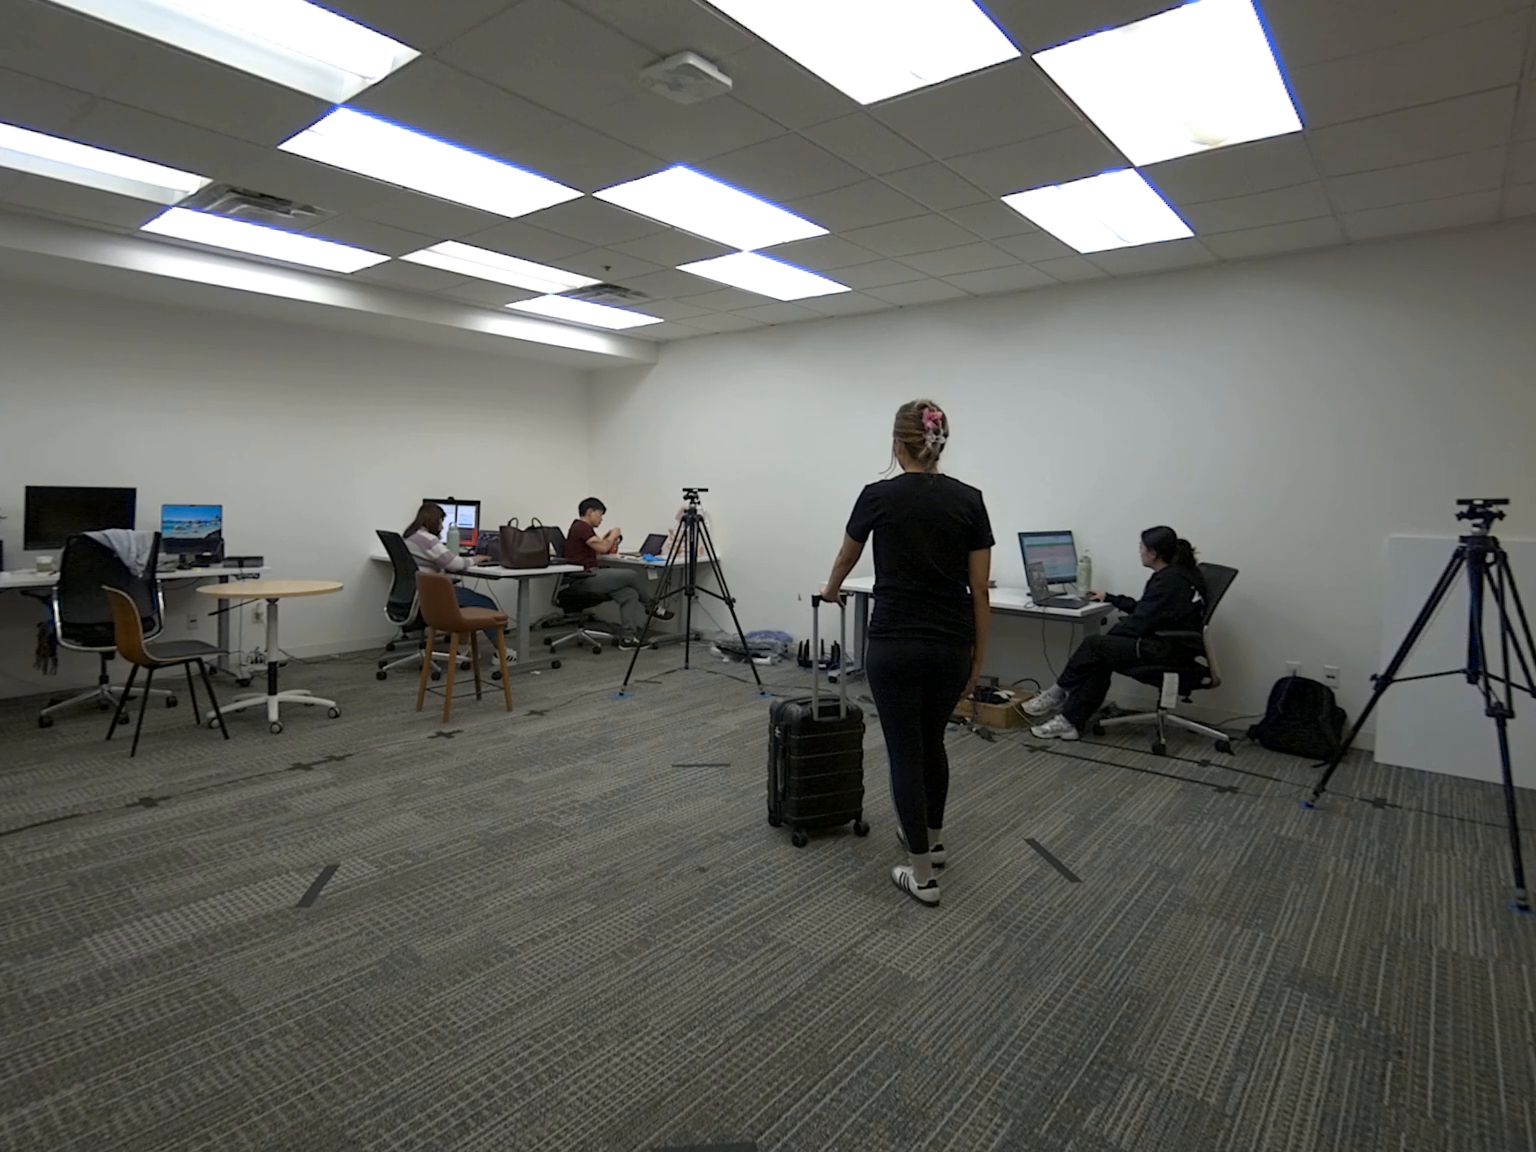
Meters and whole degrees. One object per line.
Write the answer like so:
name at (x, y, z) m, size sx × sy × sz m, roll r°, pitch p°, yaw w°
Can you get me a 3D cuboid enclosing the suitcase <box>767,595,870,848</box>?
suitcase at (0.185, 0.563, 3.498) m, size 0.376 × 0.978 × 0.263 m, roll -1°, pitch 0°, yaw -23°
